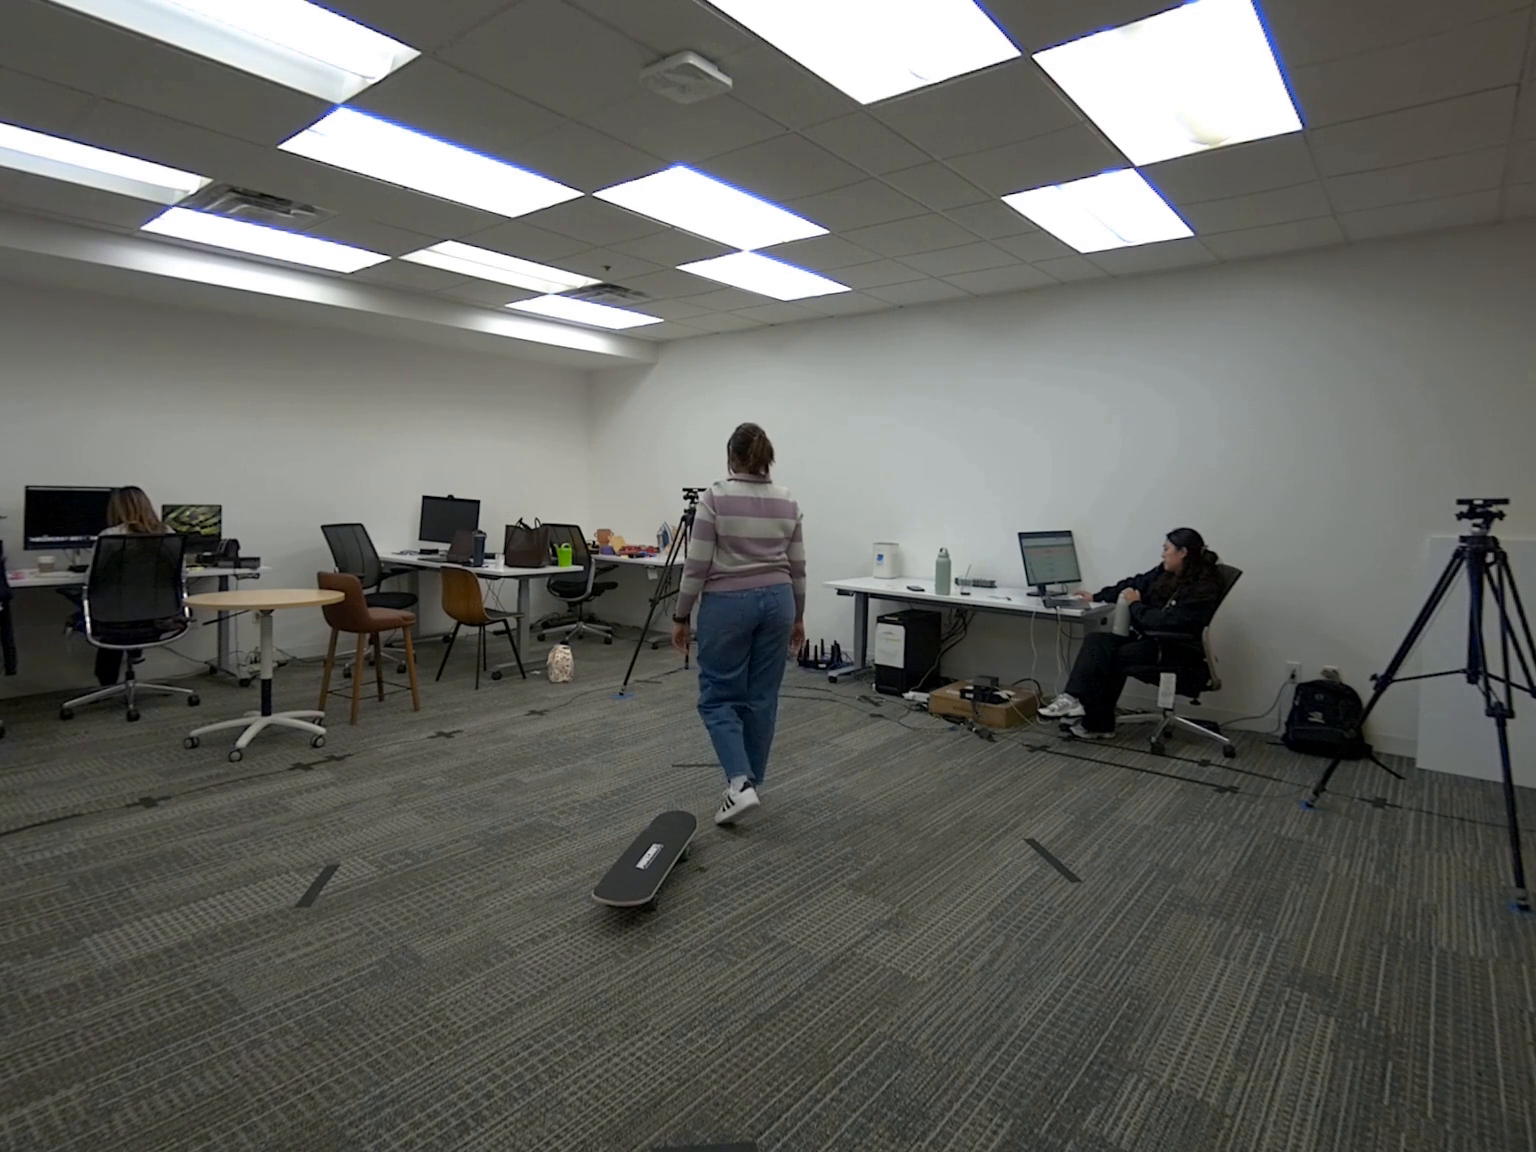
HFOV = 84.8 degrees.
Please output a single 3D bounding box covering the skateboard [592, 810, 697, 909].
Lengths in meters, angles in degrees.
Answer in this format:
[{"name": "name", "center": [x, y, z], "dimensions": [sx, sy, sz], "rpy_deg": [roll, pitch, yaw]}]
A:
[{"name": "skateboard", "center": [-0.429, 1.019, 3.009], "dimensions": [0.196, 0.110, 0.778], "rpy_deg": [2, 5, 10]}]
